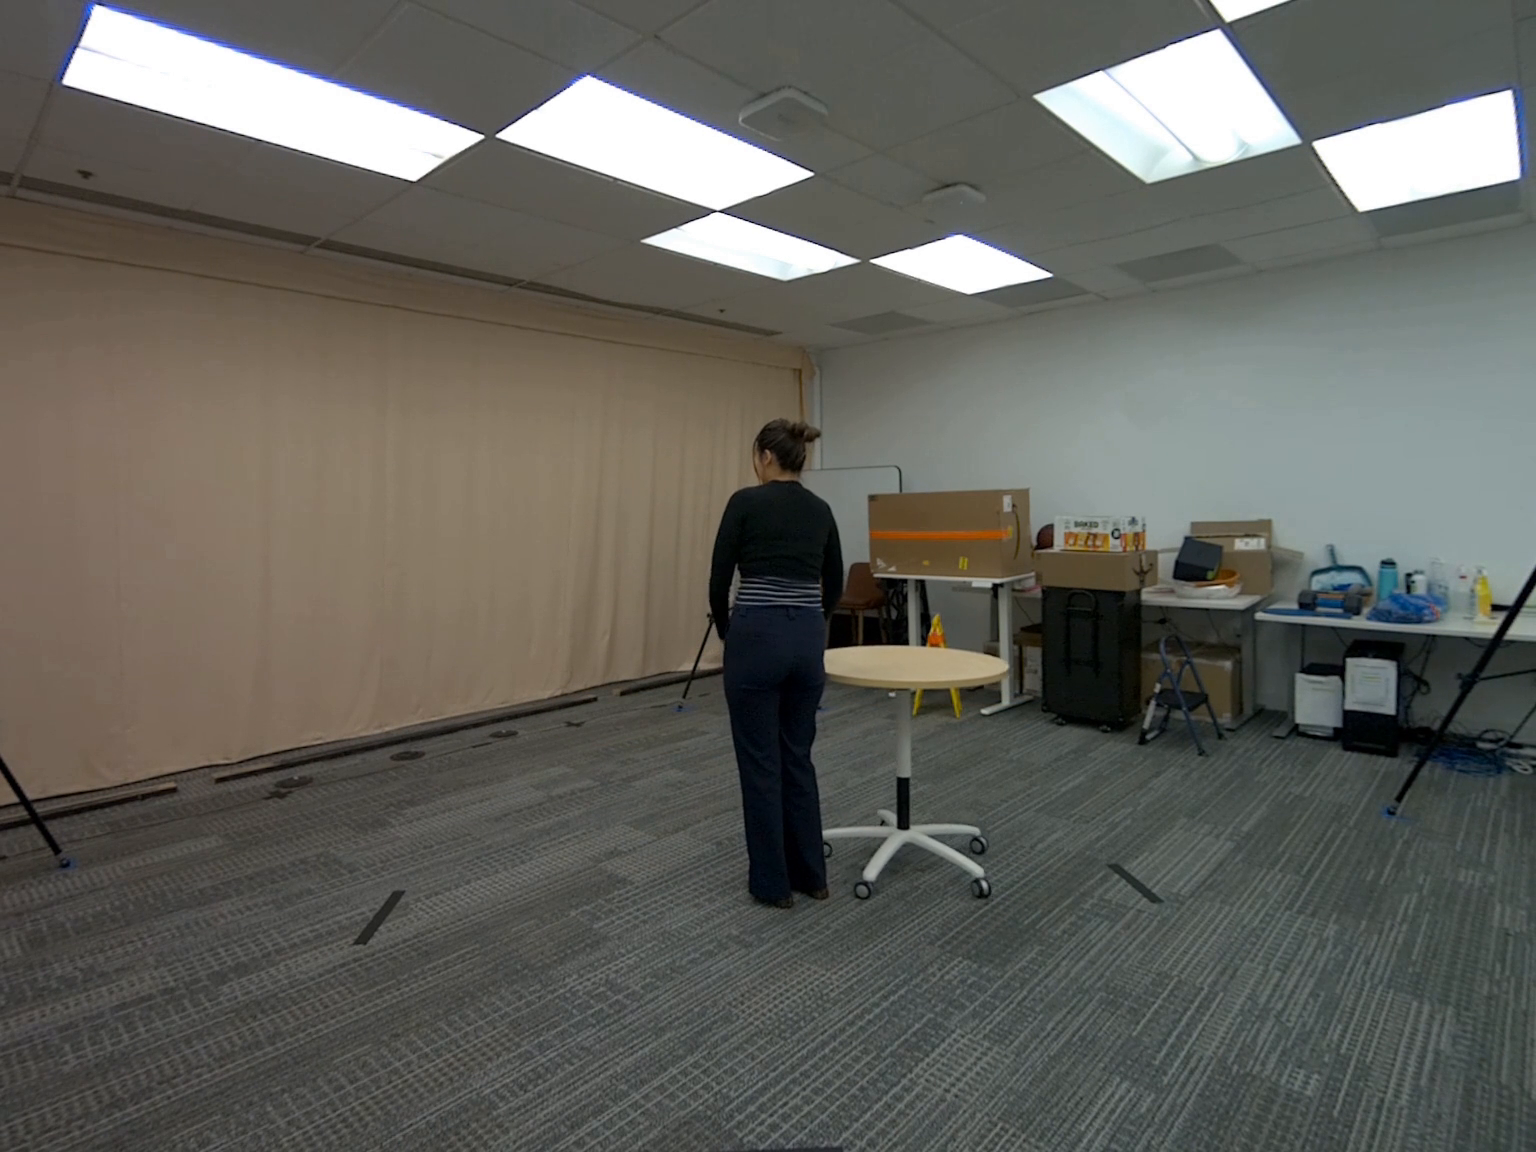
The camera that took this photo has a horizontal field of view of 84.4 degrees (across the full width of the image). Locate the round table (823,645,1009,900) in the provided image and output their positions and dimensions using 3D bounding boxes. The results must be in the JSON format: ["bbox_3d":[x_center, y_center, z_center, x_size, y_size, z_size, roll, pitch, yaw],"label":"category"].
[{"bbox_3d":[0.521,0.721,3.221,0.763,0.792,0.766,-1,3,-2],"label":"round table"}]
